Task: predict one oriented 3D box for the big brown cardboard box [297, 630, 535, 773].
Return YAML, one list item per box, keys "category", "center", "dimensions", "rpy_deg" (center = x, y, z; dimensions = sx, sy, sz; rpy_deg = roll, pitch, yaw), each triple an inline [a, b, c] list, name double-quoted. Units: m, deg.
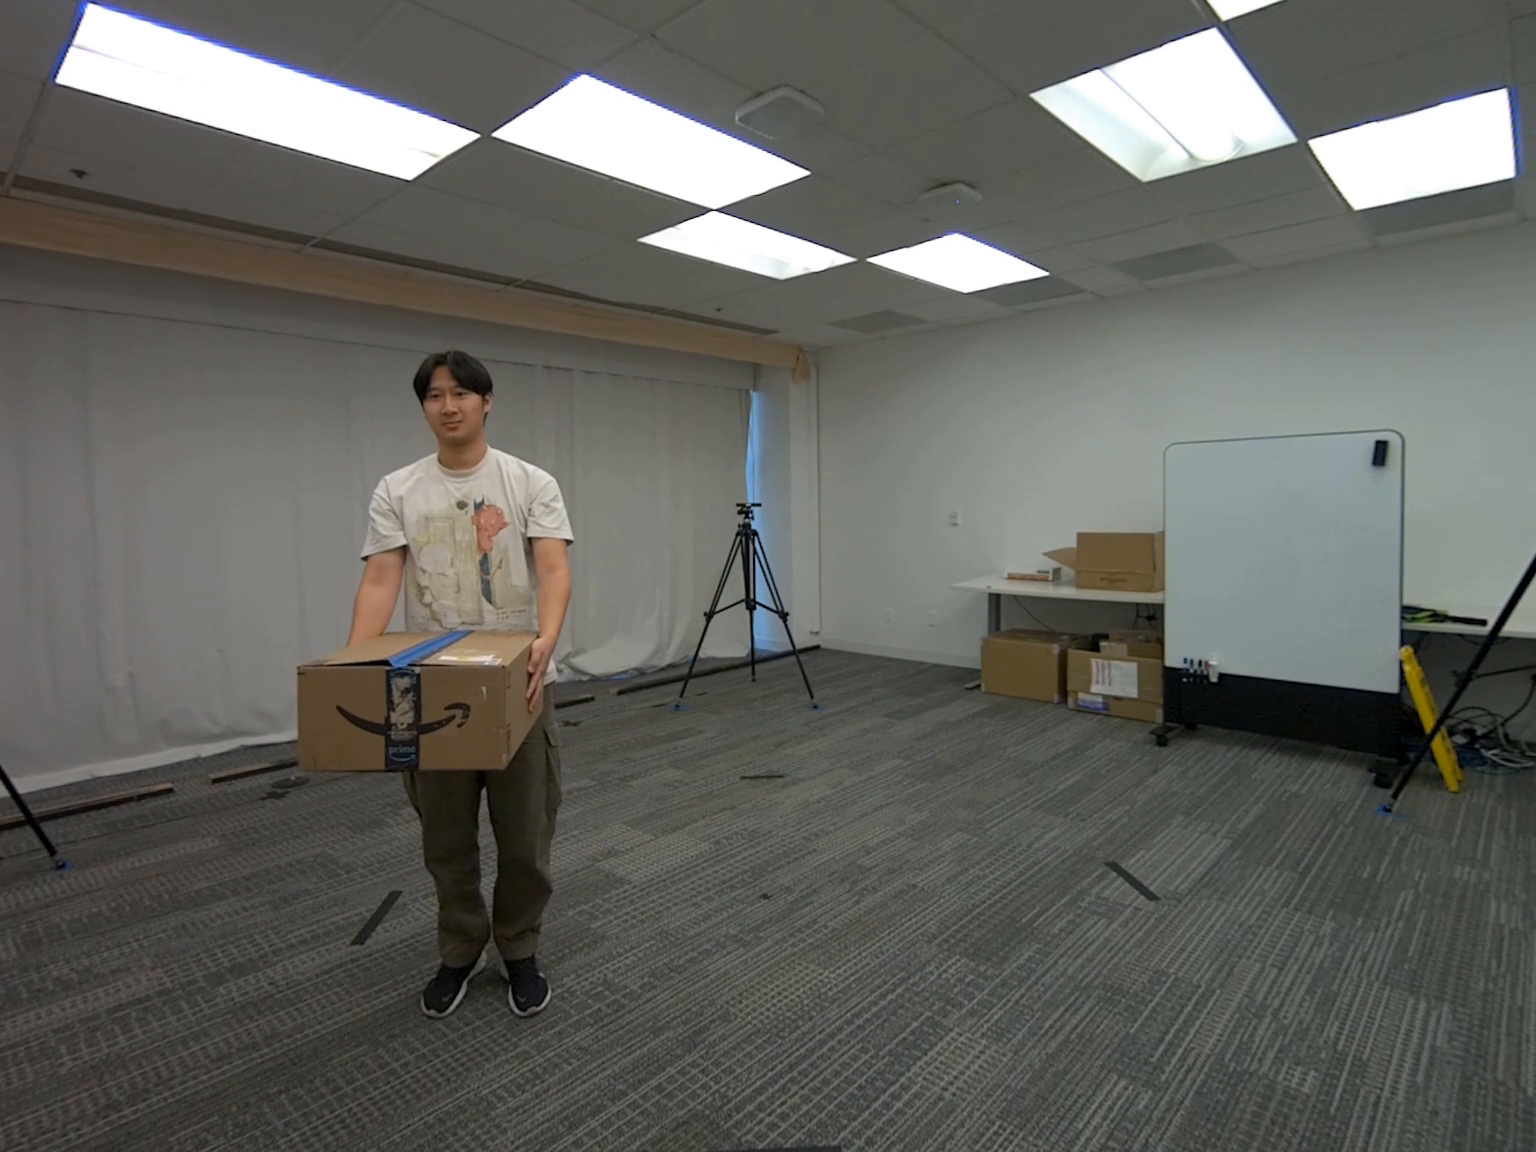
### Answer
- category: "big brown cardboard box"
  center: [-0.775, 0.272, 1.972]
  dimensions: [0.415, 0.233, 0.593]
  rpy_deg: [-1, 2, -7]
